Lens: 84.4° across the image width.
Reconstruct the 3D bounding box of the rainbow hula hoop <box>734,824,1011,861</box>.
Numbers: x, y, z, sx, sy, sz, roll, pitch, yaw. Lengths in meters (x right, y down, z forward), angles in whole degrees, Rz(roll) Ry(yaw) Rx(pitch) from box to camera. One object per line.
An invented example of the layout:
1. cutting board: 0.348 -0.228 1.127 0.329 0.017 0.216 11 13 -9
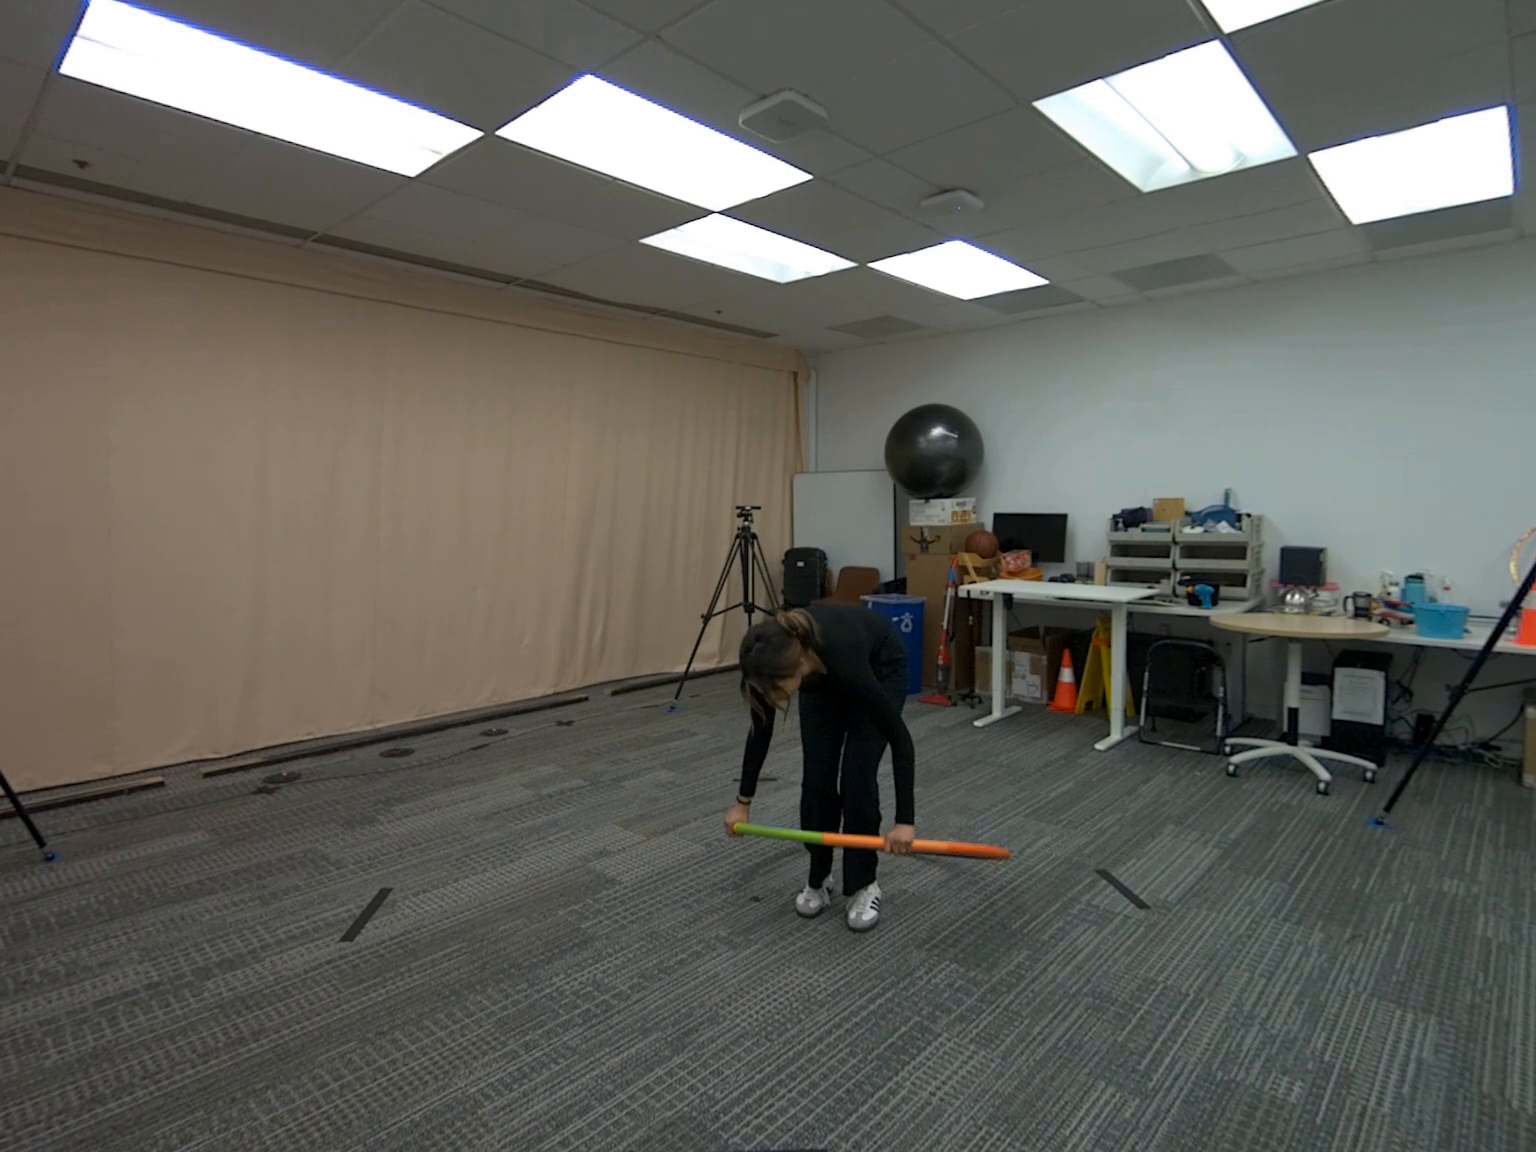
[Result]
1. rainbow hula hoop: 0.340 0.935 2.977 0.980 0.036 0.969 6 -17 0
